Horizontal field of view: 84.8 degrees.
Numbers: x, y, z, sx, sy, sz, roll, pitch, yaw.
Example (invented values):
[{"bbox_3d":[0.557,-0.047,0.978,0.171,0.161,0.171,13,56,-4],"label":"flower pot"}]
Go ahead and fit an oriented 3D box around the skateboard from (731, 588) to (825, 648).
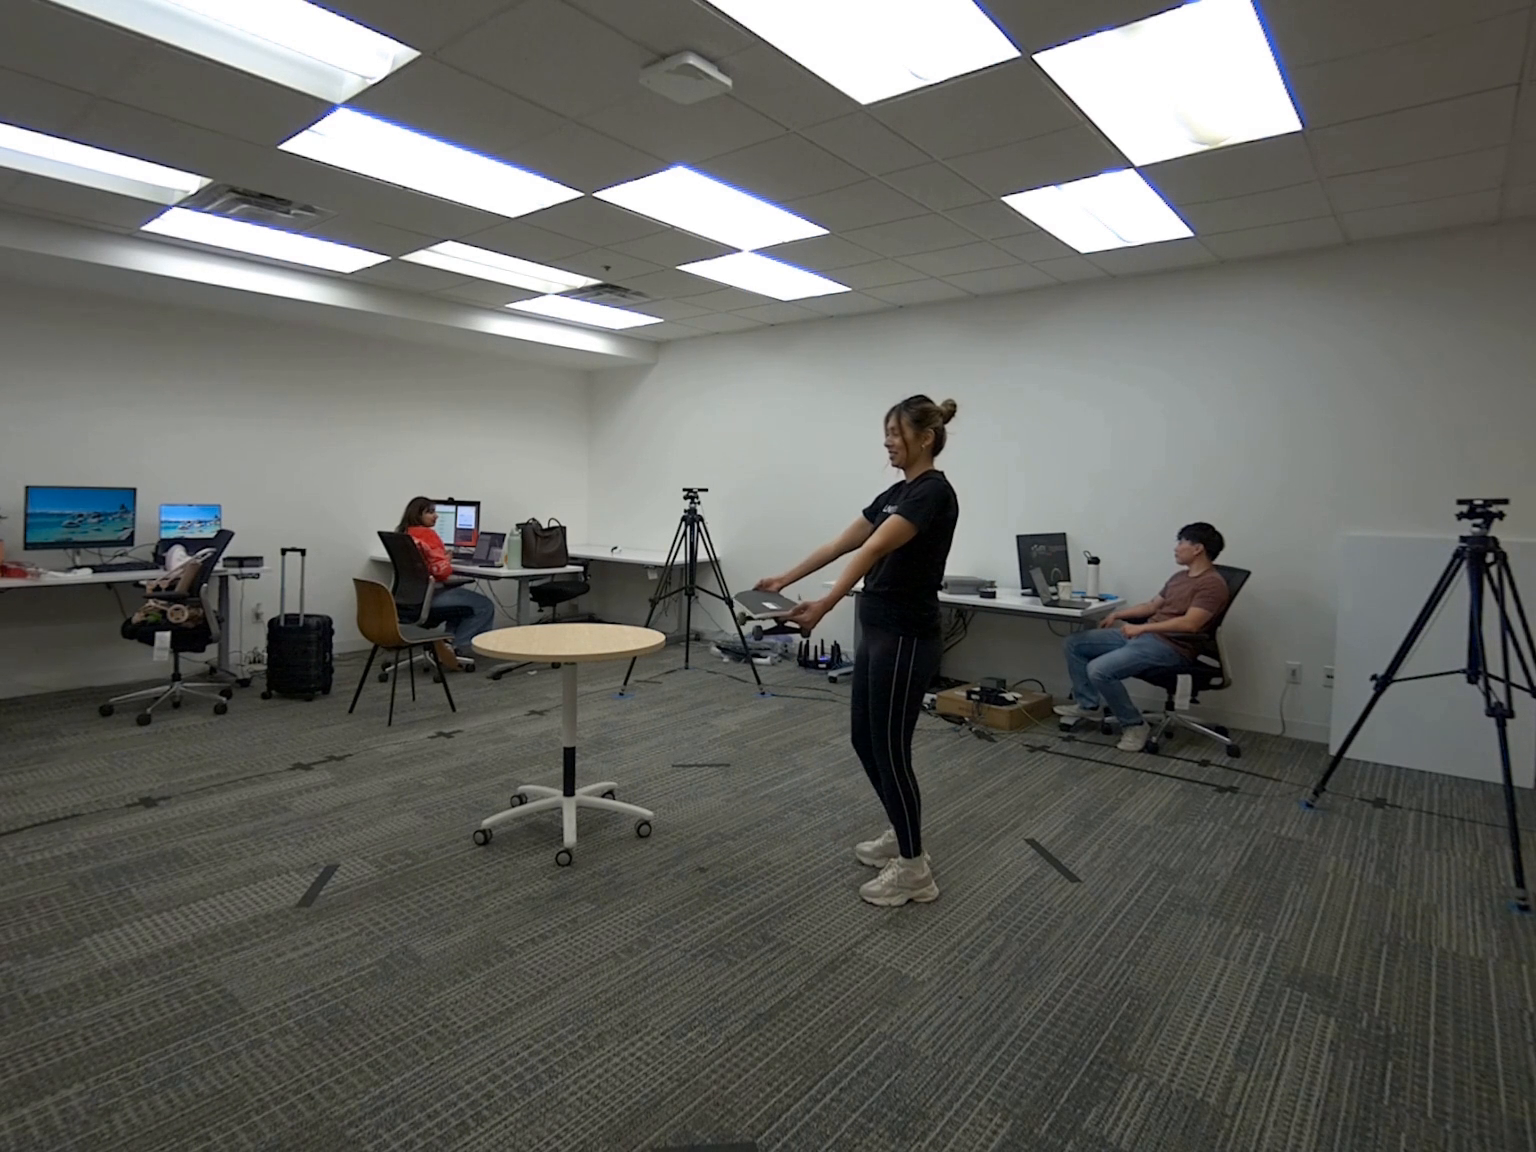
[{"bbox_3d":[0.012,0.127,2.899,0.192,0.110,0.792,-3,4,-8],"label":"skateboard"}]
